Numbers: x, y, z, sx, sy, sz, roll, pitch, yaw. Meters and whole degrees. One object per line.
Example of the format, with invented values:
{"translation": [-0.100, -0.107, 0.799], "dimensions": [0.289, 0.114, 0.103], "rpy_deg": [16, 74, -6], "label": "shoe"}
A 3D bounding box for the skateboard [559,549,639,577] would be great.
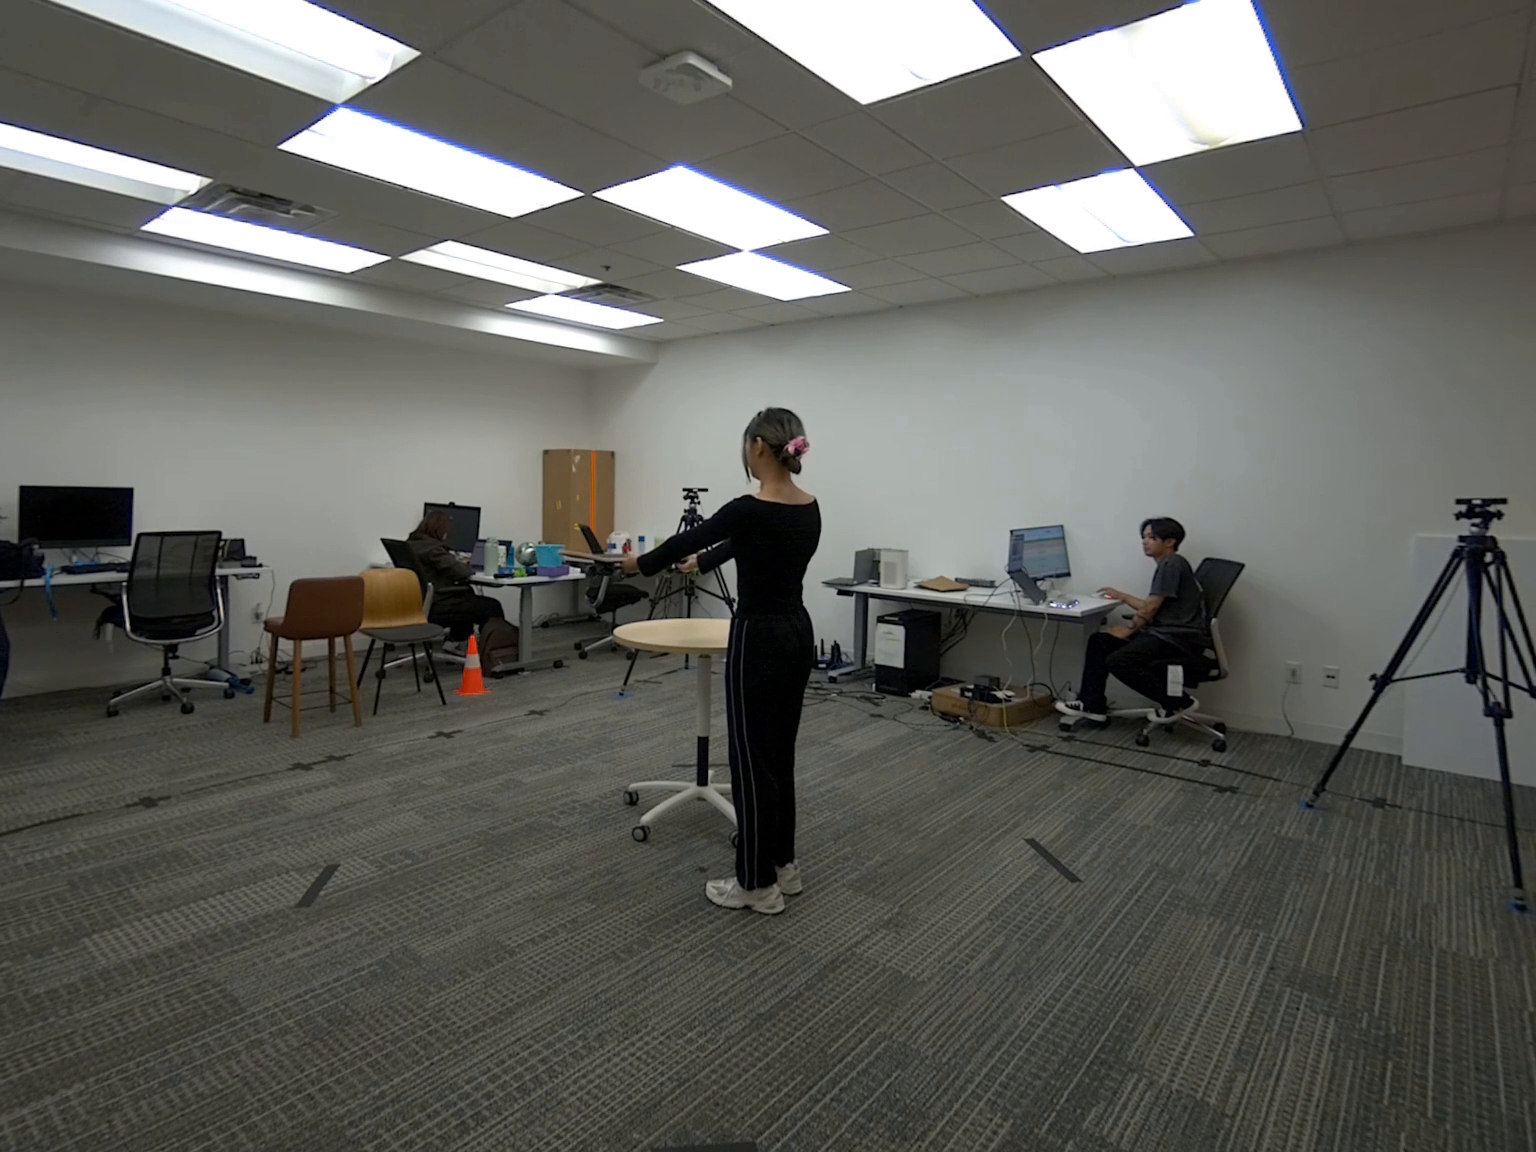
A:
{"translation": [-0.486, -0.042, 3.242], "dimensions": [0.200, 0.110, 0.761], "rpy_deg": [3, 3, 38], "label": "skateboard"}
